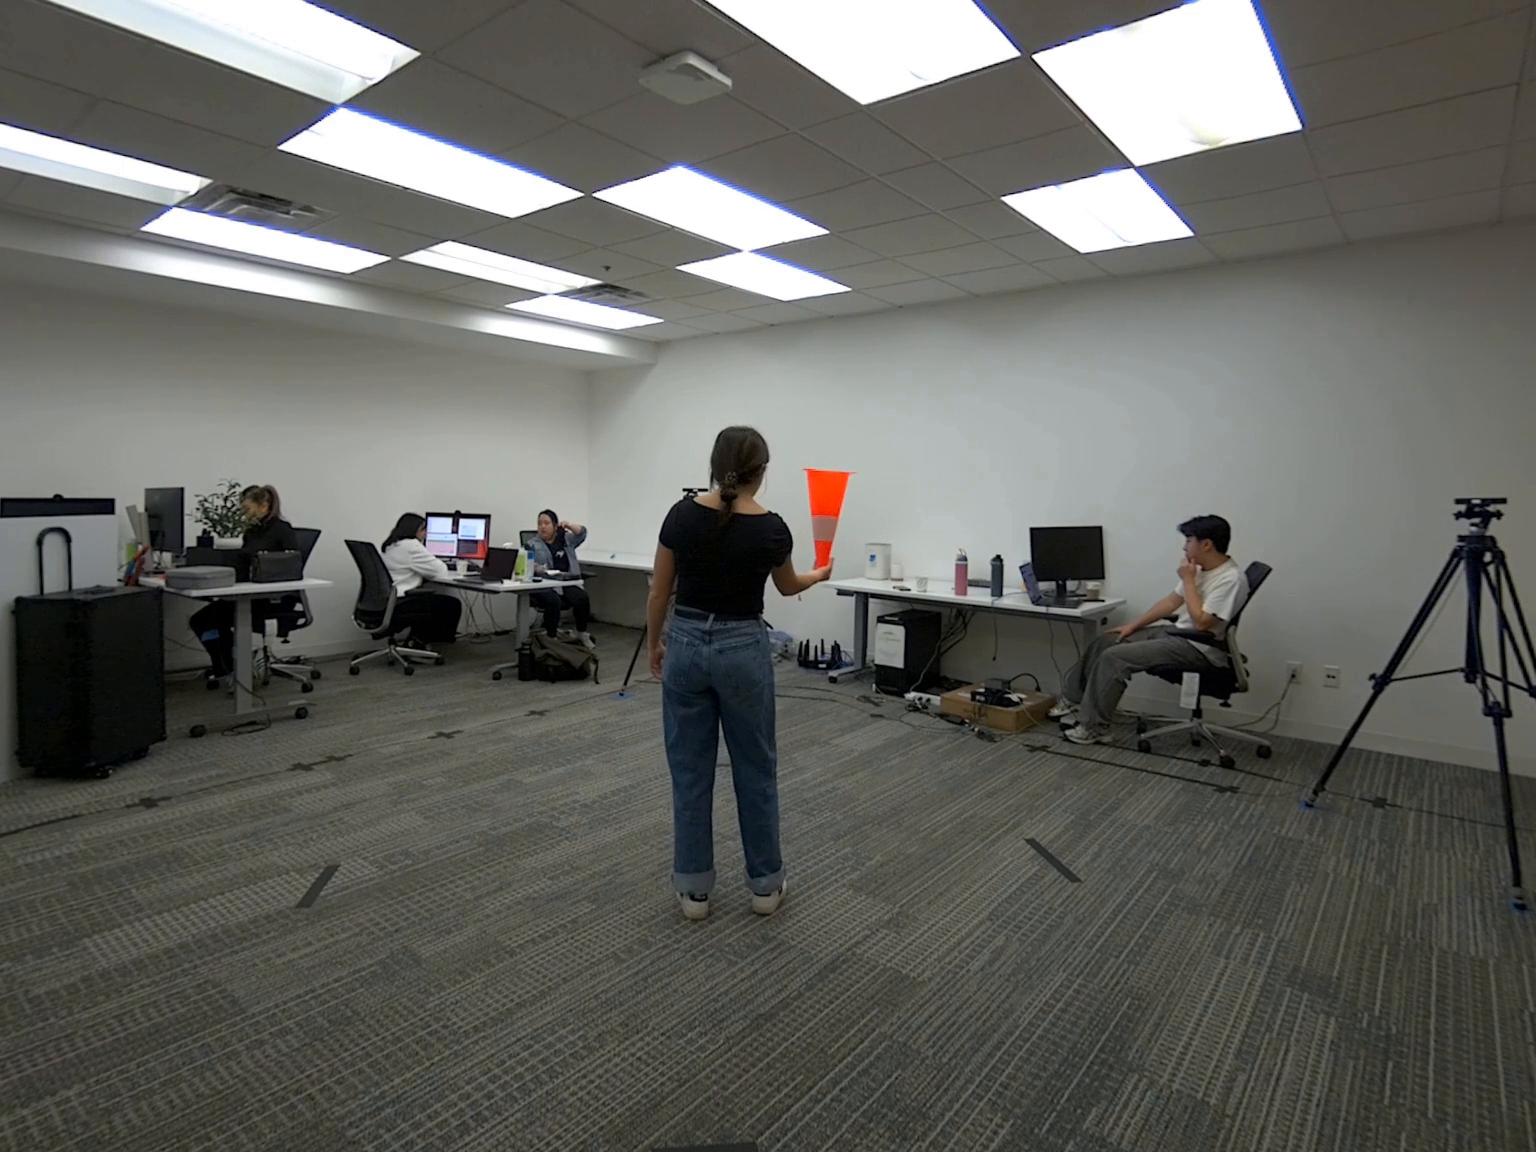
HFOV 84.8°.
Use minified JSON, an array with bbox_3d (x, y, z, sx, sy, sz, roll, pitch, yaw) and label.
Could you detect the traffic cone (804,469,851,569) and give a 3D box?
[{"bbox_3d":[0.214,-0.205,3.179,0.202,0.382,0.207,5,4,-6],"label":"traffic cone"}]
